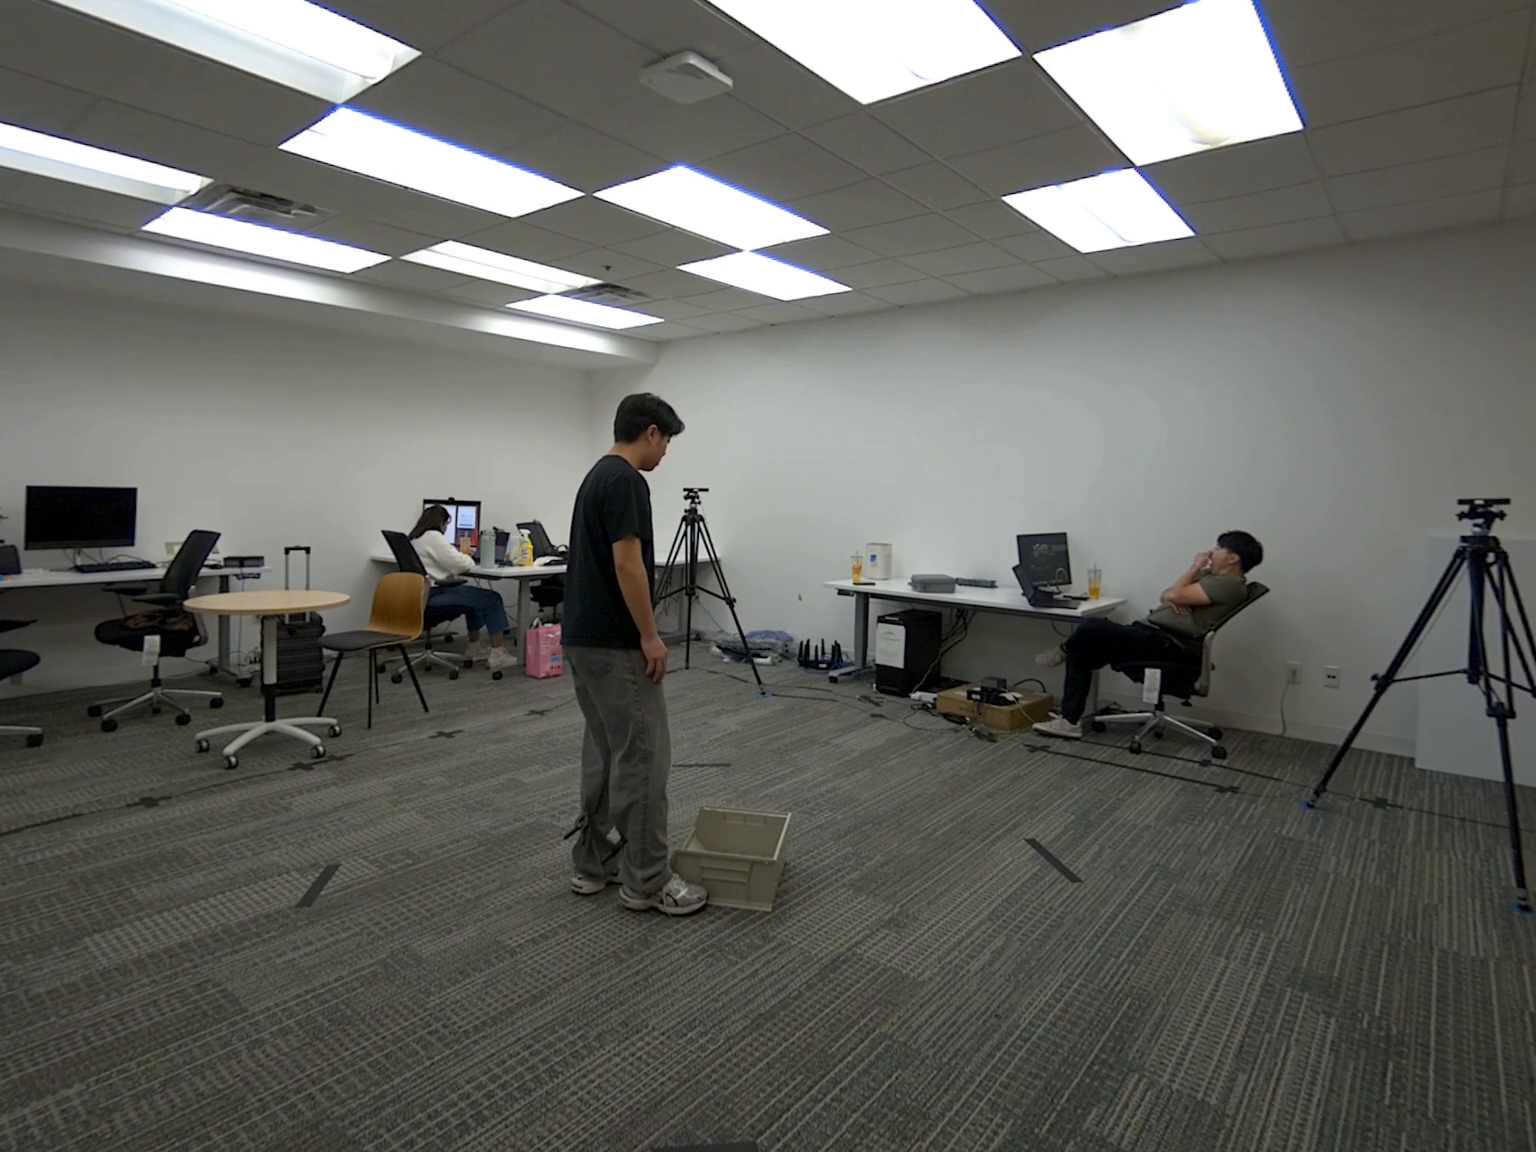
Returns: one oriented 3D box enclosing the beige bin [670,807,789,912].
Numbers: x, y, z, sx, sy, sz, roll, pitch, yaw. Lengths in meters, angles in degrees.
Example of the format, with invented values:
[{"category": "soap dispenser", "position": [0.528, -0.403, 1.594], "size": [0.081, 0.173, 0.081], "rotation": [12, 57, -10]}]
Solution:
[{"category": "beige bin", "position": [-0.141, 0.992, 3.025], "size": [0.382, 0.188, 0.419], "rotation": [3, 5, 10]}]
